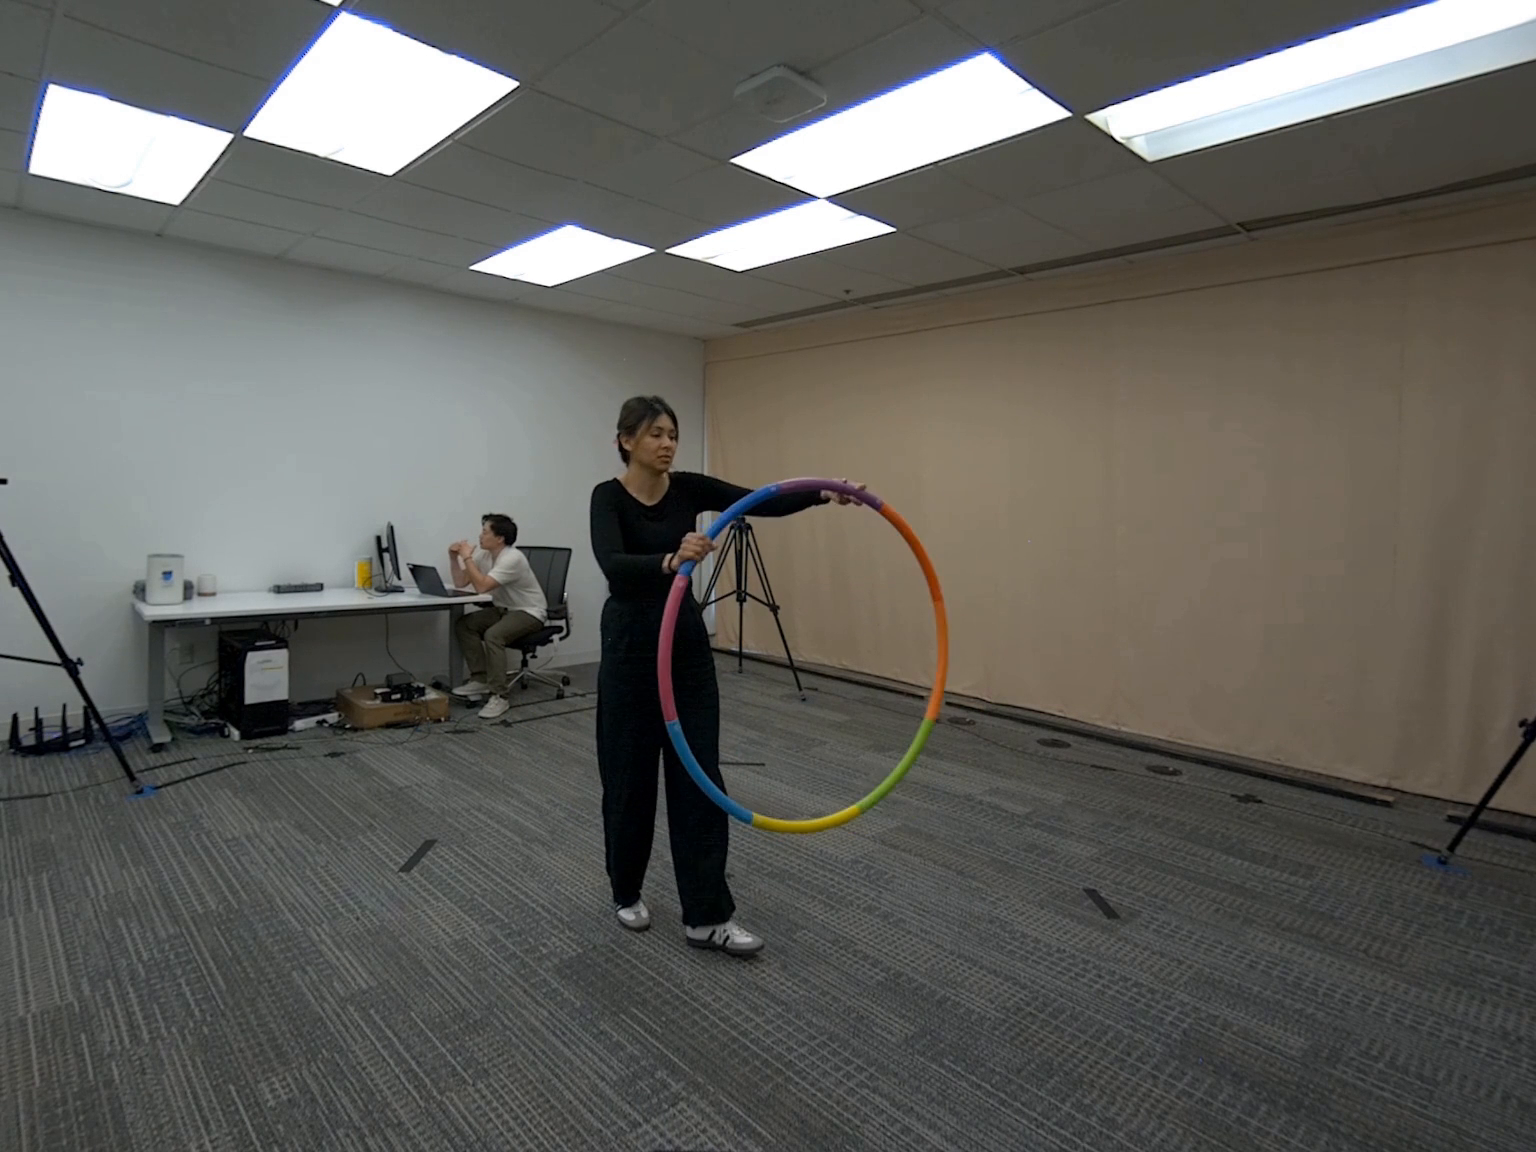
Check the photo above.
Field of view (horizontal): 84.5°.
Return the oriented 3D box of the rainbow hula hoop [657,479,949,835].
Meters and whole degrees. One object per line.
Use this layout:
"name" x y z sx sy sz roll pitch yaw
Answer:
"rainbow hula hoop" 0.124 0.218 2.358 0.965 0.986 0.052 -1 -1 -31
